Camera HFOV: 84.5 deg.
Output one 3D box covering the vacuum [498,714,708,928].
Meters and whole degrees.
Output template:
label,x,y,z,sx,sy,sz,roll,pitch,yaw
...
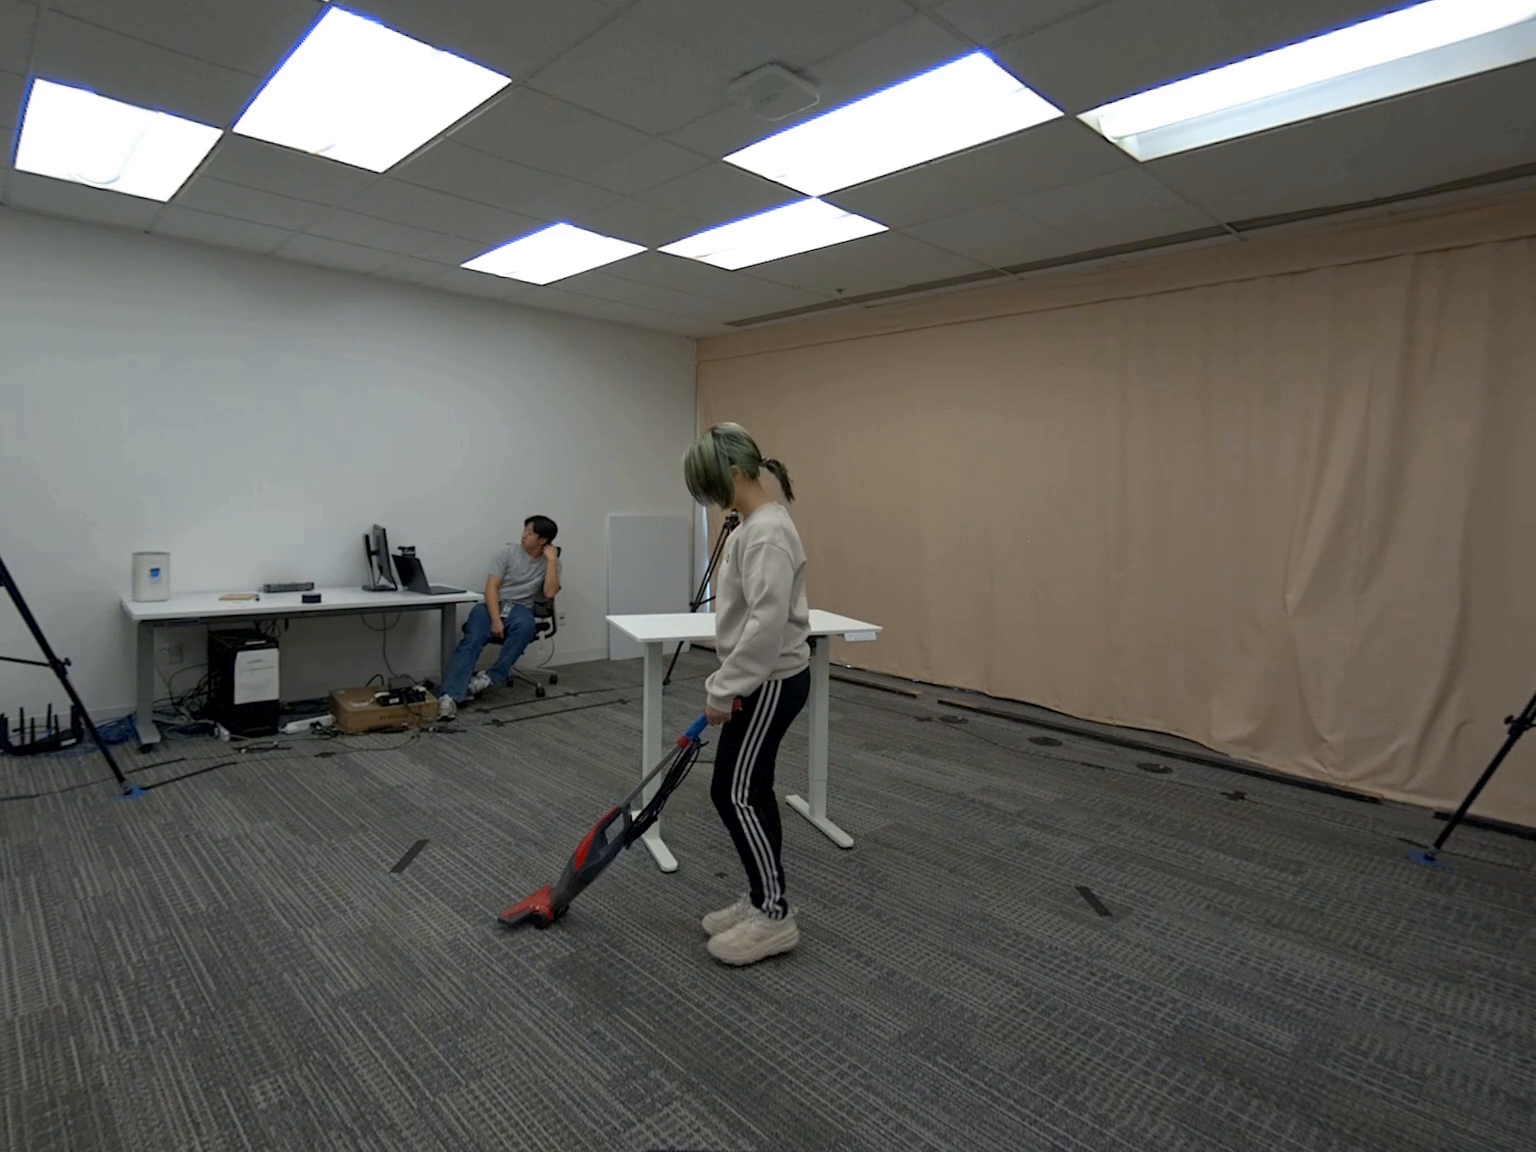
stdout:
label,x,y,z,sx,sy,sz,roll,pitch,yaw
vacuum,-0.442,0.759,2.588,0.145,1.049,0.250,47,22,9
